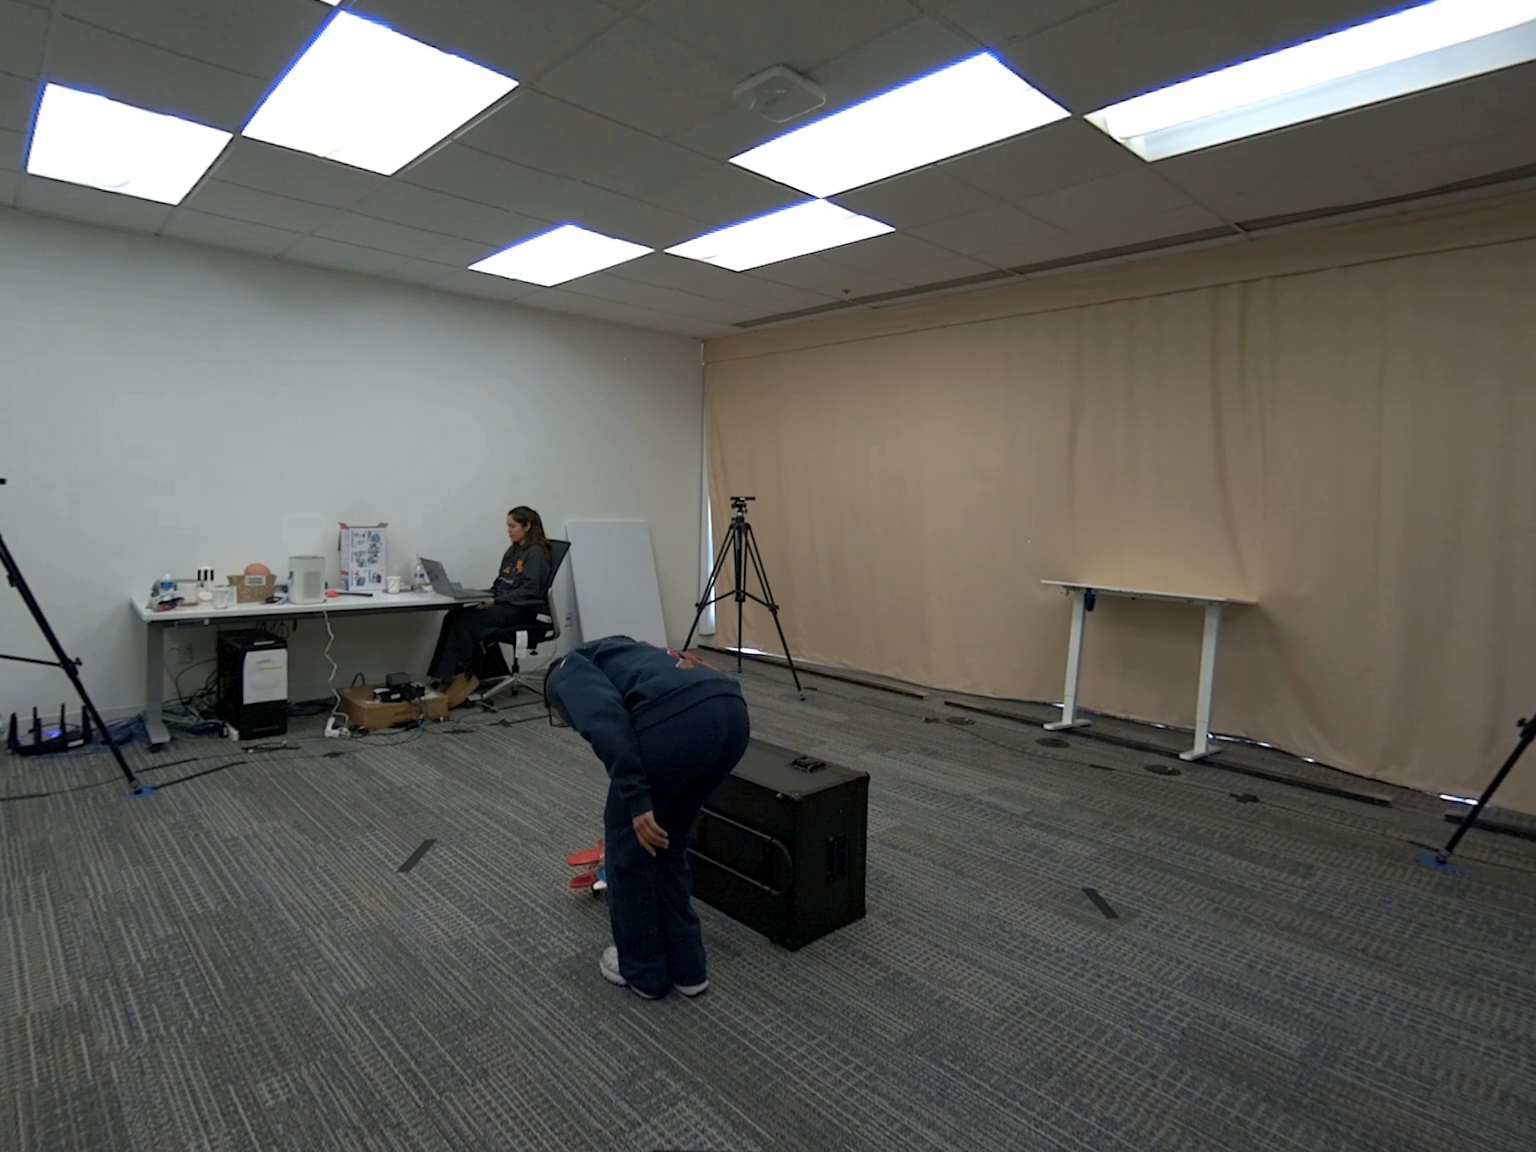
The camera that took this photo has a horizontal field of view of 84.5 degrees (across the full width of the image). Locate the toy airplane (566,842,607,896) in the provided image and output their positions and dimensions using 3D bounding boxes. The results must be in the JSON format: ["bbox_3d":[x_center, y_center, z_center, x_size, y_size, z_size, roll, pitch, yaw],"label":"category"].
[{"bbox_3d":[-0.532,1.008,2.891,0.245,0.158,0.263,0,-14,-42],"label":"toy airplane"}]
